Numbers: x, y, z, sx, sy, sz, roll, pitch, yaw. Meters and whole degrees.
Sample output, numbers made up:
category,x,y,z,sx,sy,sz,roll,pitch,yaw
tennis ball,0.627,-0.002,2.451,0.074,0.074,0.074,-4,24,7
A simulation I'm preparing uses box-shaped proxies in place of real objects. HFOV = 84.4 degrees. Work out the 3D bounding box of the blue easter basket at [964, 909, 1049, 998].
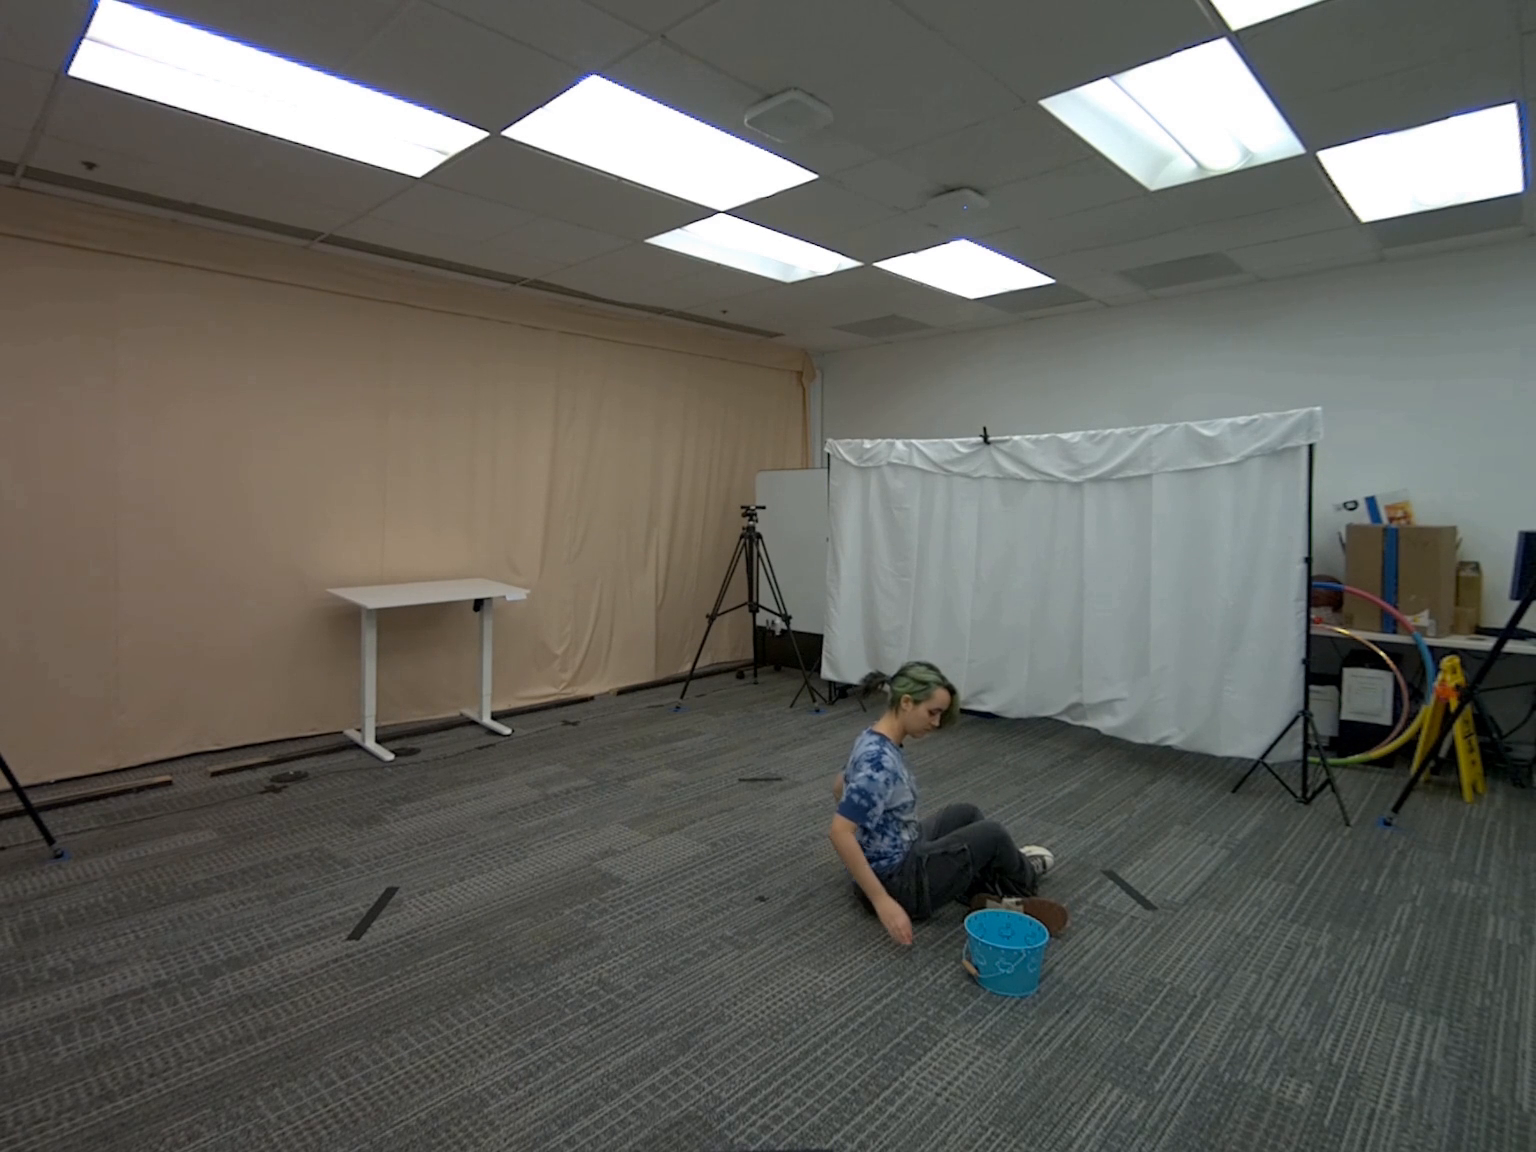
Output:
category,x,y,z,sx,sy,sz,roll,pitch,yaw
blue easter basket,0.693,1.101,2.479,0.243,0.155,0.244,0,4,-2
